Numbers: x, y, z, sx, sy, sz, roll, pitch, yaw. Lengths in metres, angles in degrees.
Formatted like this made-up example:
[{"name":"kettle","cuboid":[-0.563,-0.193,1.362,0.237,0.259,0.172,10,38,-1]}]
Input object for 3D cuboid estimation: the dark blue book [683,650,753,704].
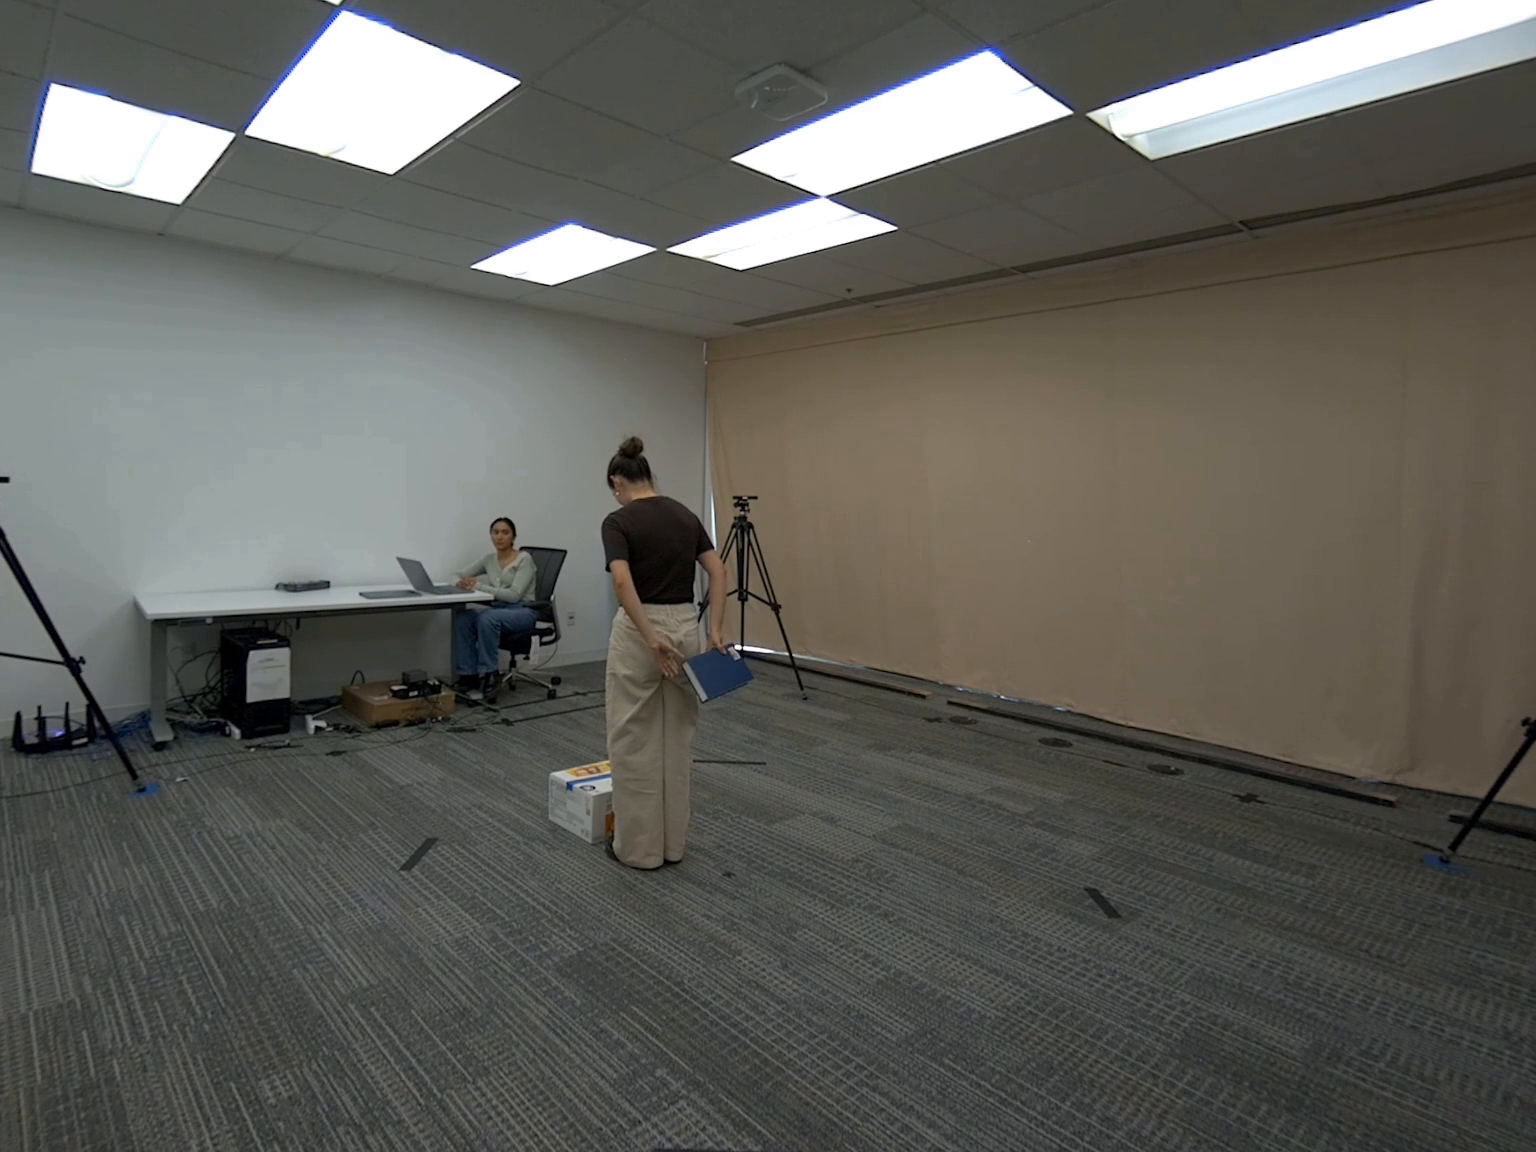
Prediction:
[{"name":"dark blue book","cuboid":[-0.185,0.348,3.084,0.241,0.166,0.045,-17,-23,-46]}]
